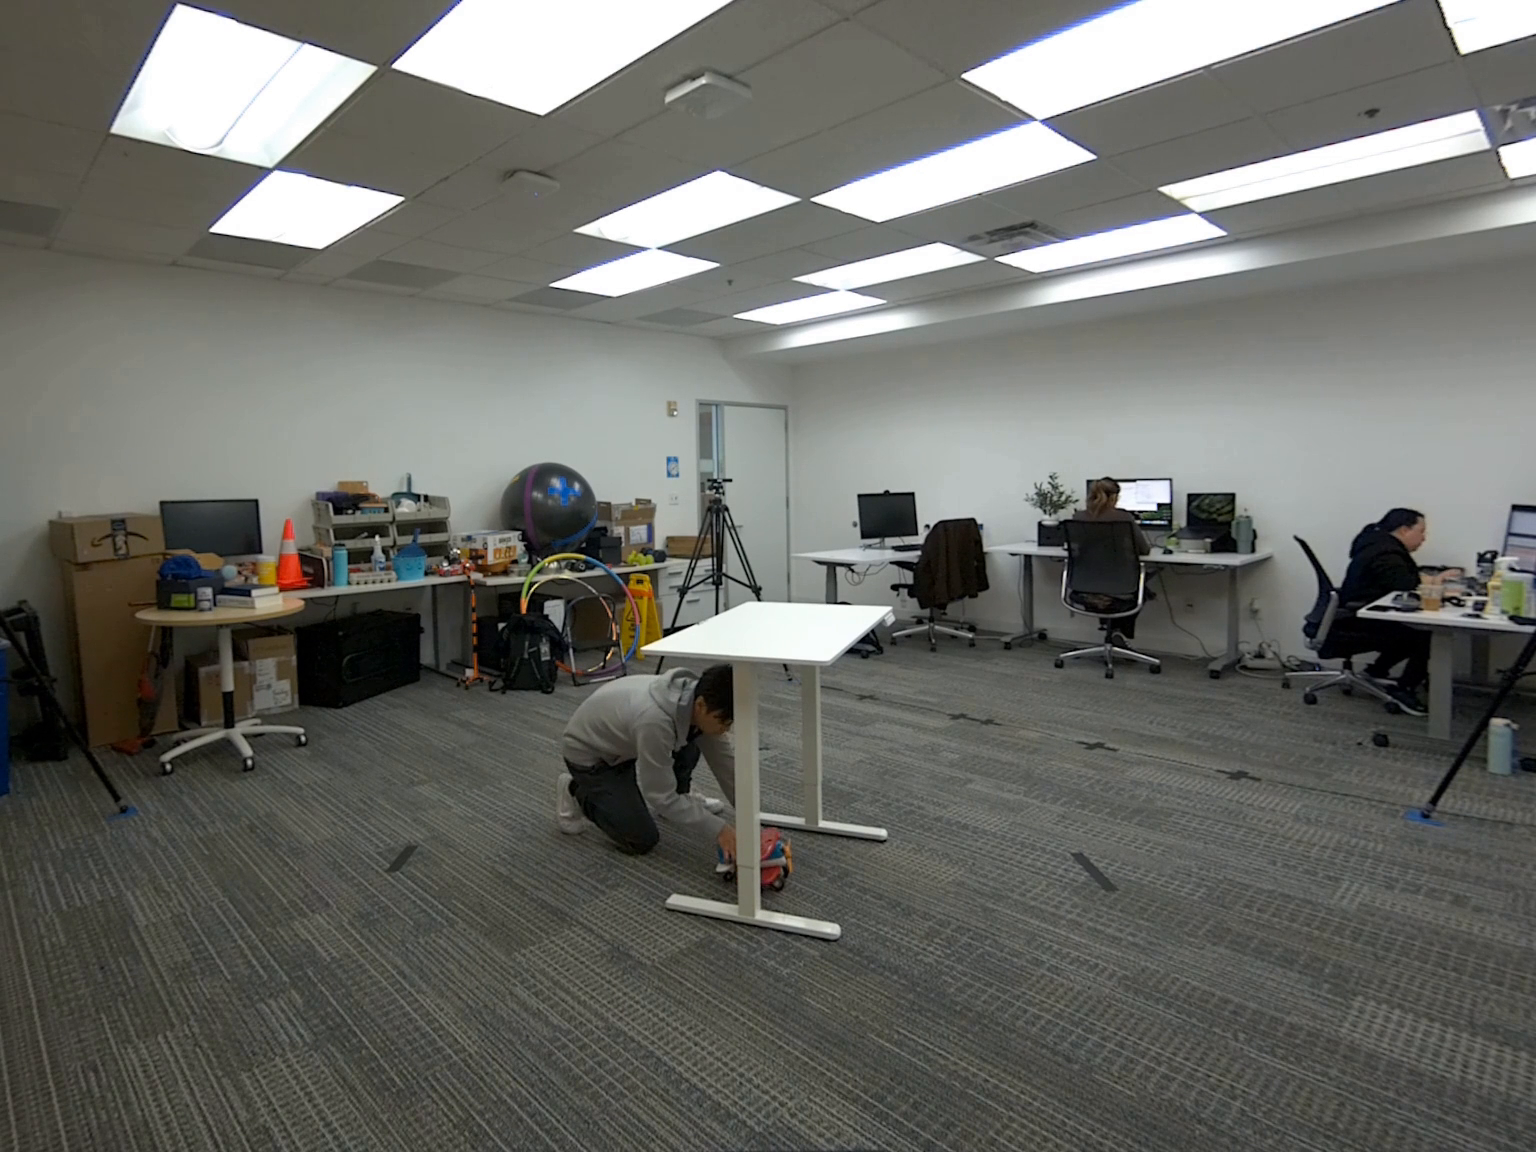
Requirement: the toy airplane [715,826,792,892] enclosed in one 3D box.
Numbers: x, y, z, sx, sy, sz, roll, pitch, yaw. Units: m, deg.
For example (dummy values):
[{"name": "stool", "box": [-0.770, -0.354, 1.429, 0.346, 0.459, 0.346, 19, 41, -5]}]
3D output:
[{"name": "toy airplane", "box": [-0.041, 0.994, 2.935, 0.255, 0.156, 0.256, -1, 4, -18]}]
